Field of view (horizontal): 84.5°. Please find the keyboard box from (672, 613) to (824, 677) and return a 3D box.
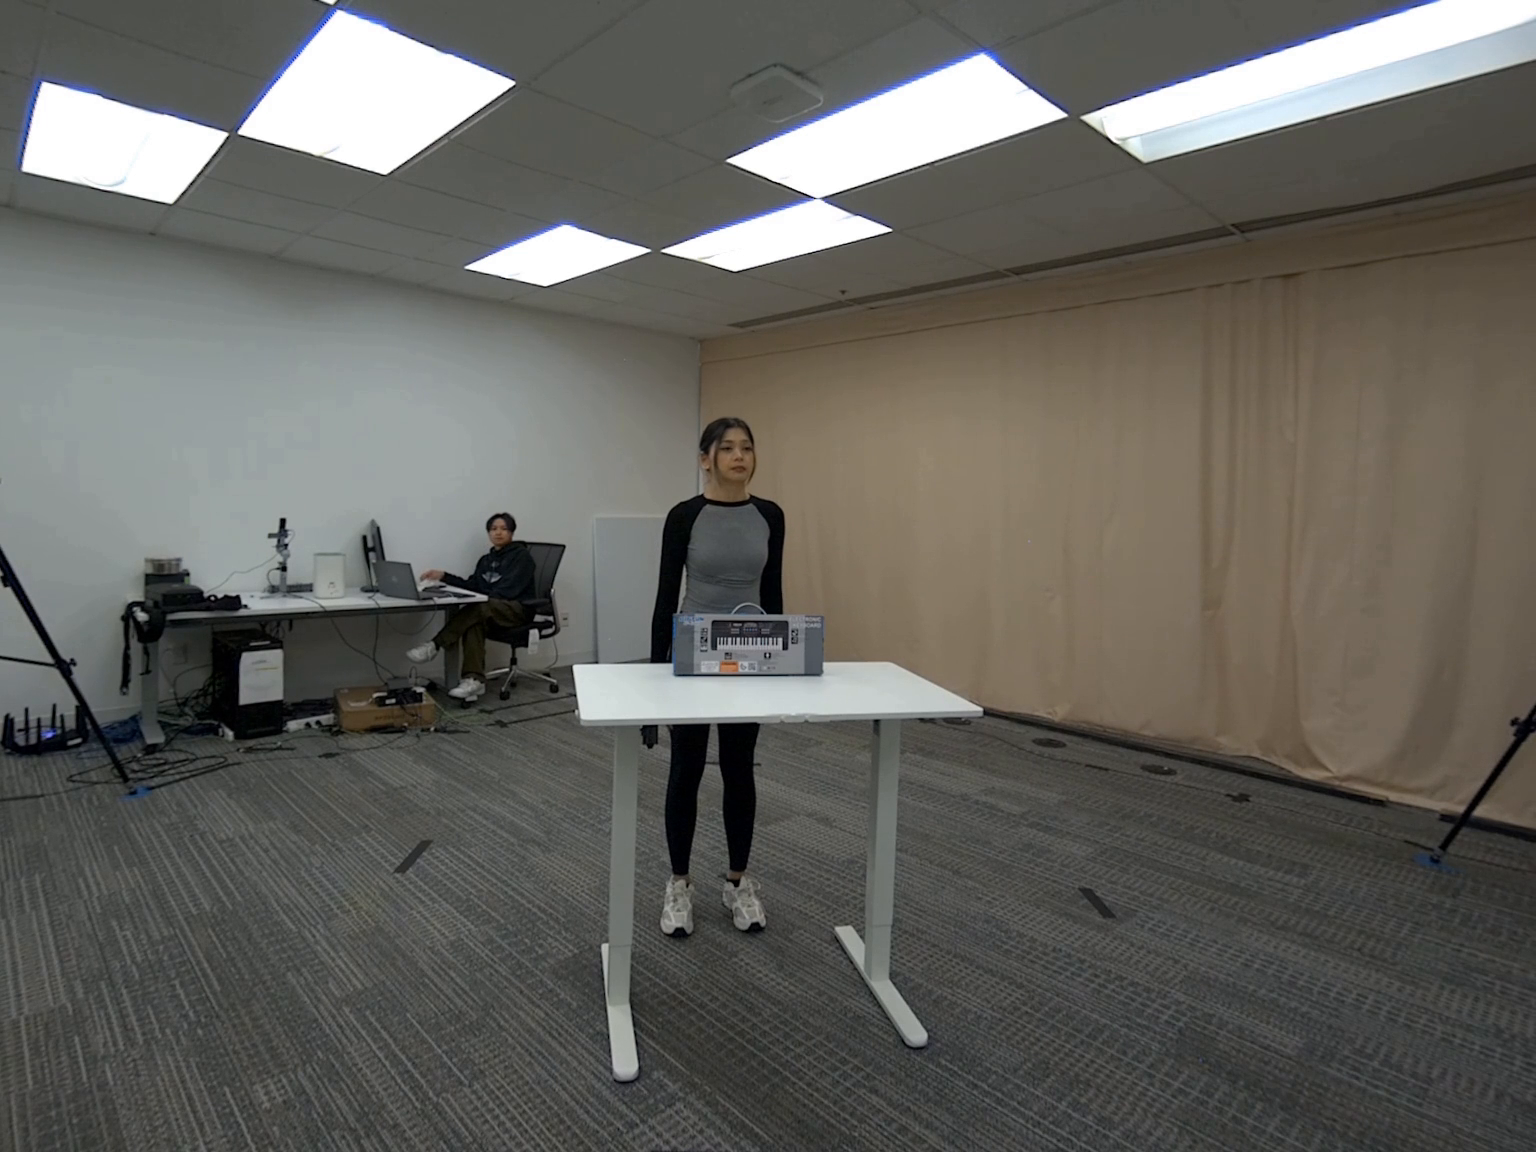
[{"bbox_3d":[-0.063,0.198,2.441,0.433,0.176,0.059,2,-2,-10],"label":"keyboard box"}]
